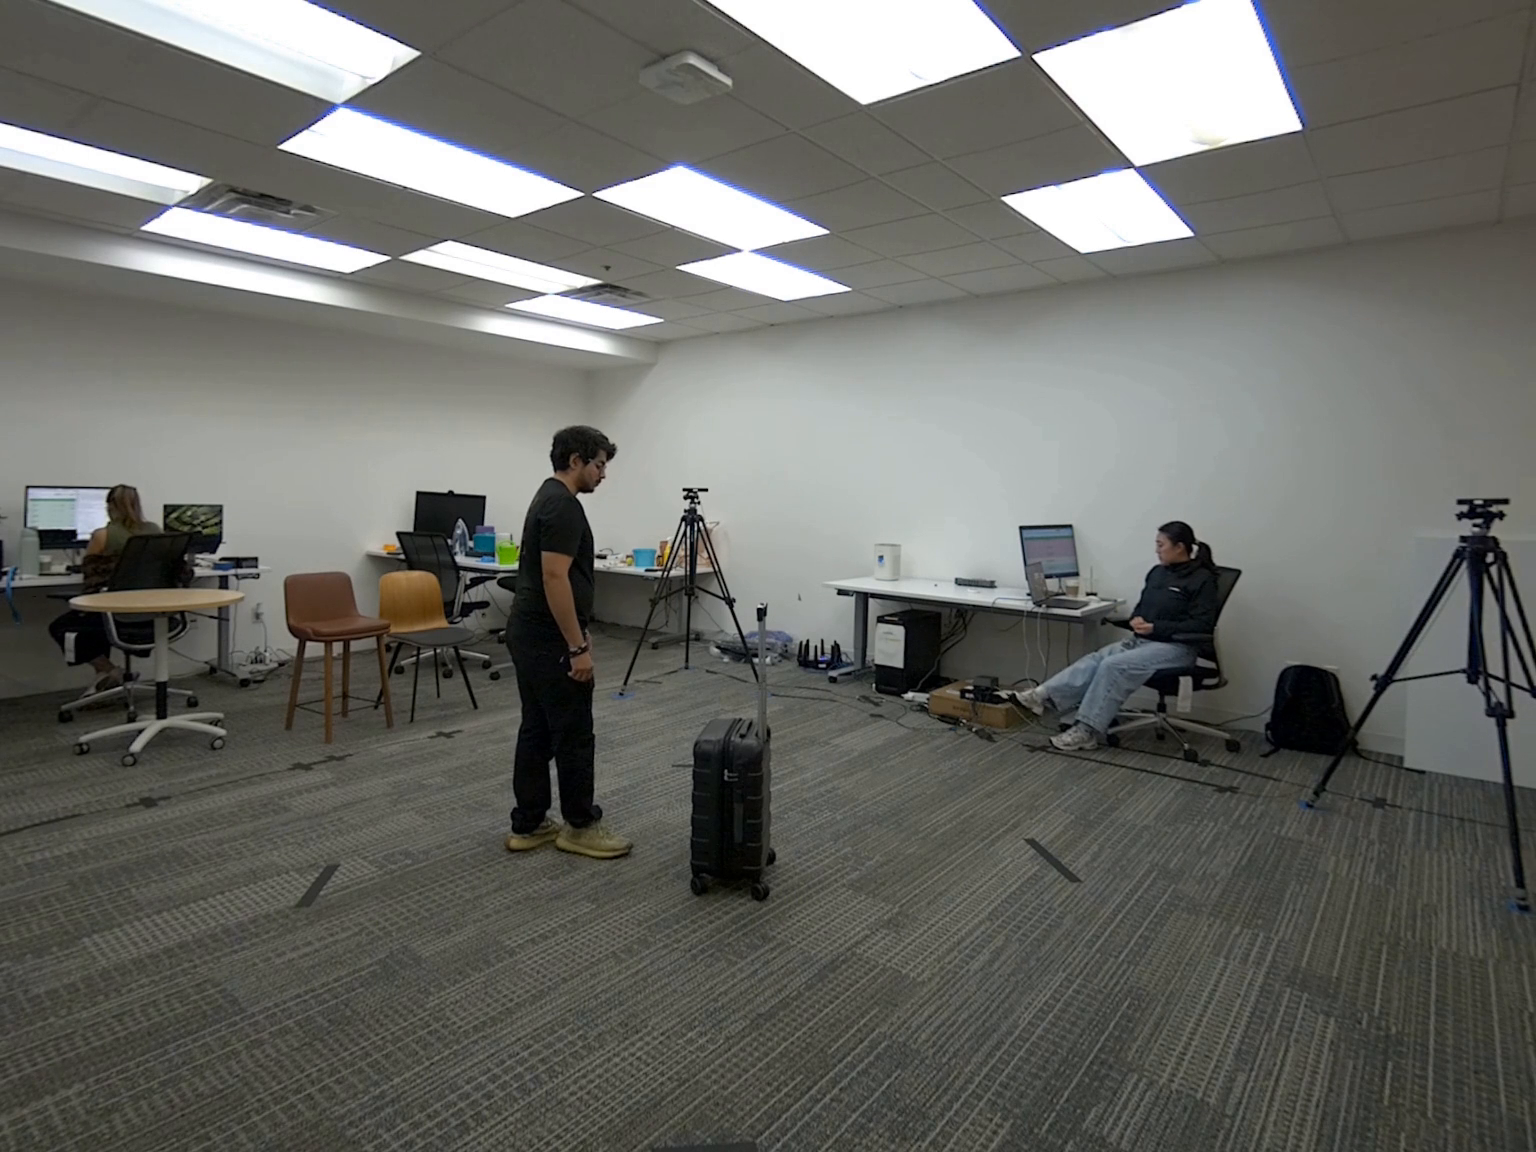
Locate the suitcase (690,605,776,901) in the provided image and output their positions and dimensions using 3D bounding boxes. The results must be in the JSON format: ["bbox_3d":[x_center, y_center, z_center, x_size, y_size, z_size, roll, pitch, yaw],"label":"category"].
[{"bbox_3d":[-0.136,0.600,3.044,0.259,0.978,0.381,-1,1,7],"label":"suitcase"}]
